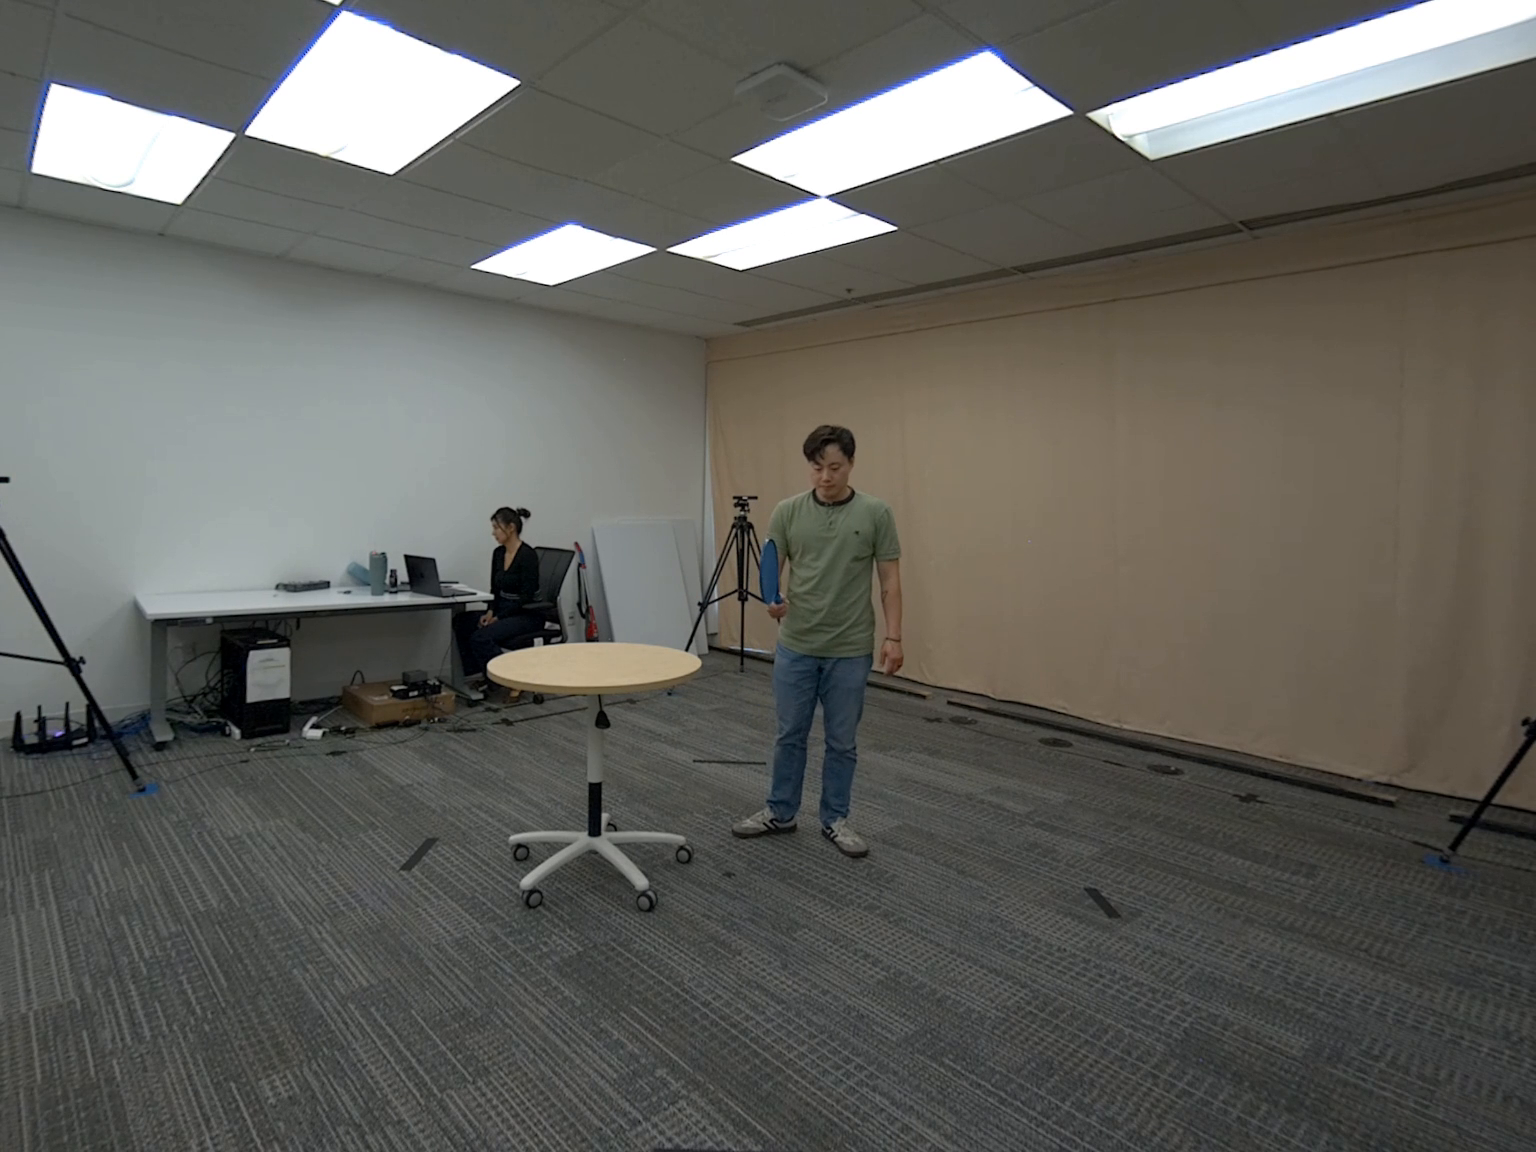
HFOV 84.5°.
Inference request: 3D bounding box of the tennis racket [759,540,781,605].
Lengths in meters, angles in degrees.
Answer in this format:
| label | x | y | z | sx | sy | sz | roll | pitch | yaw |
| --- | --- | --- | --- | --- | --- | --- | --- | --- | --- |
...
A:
| label | x | y | z | sx | sy | sz | roll | pitch | yaw |
| --- | --- | --- | --- | --- | --- | --- | --- | --- | --- |
| tennis racket | 0.042 | 0.023 | 2.961 | 0.032 | 0.216 | 0.420 | 4 | -27 | 19 |
